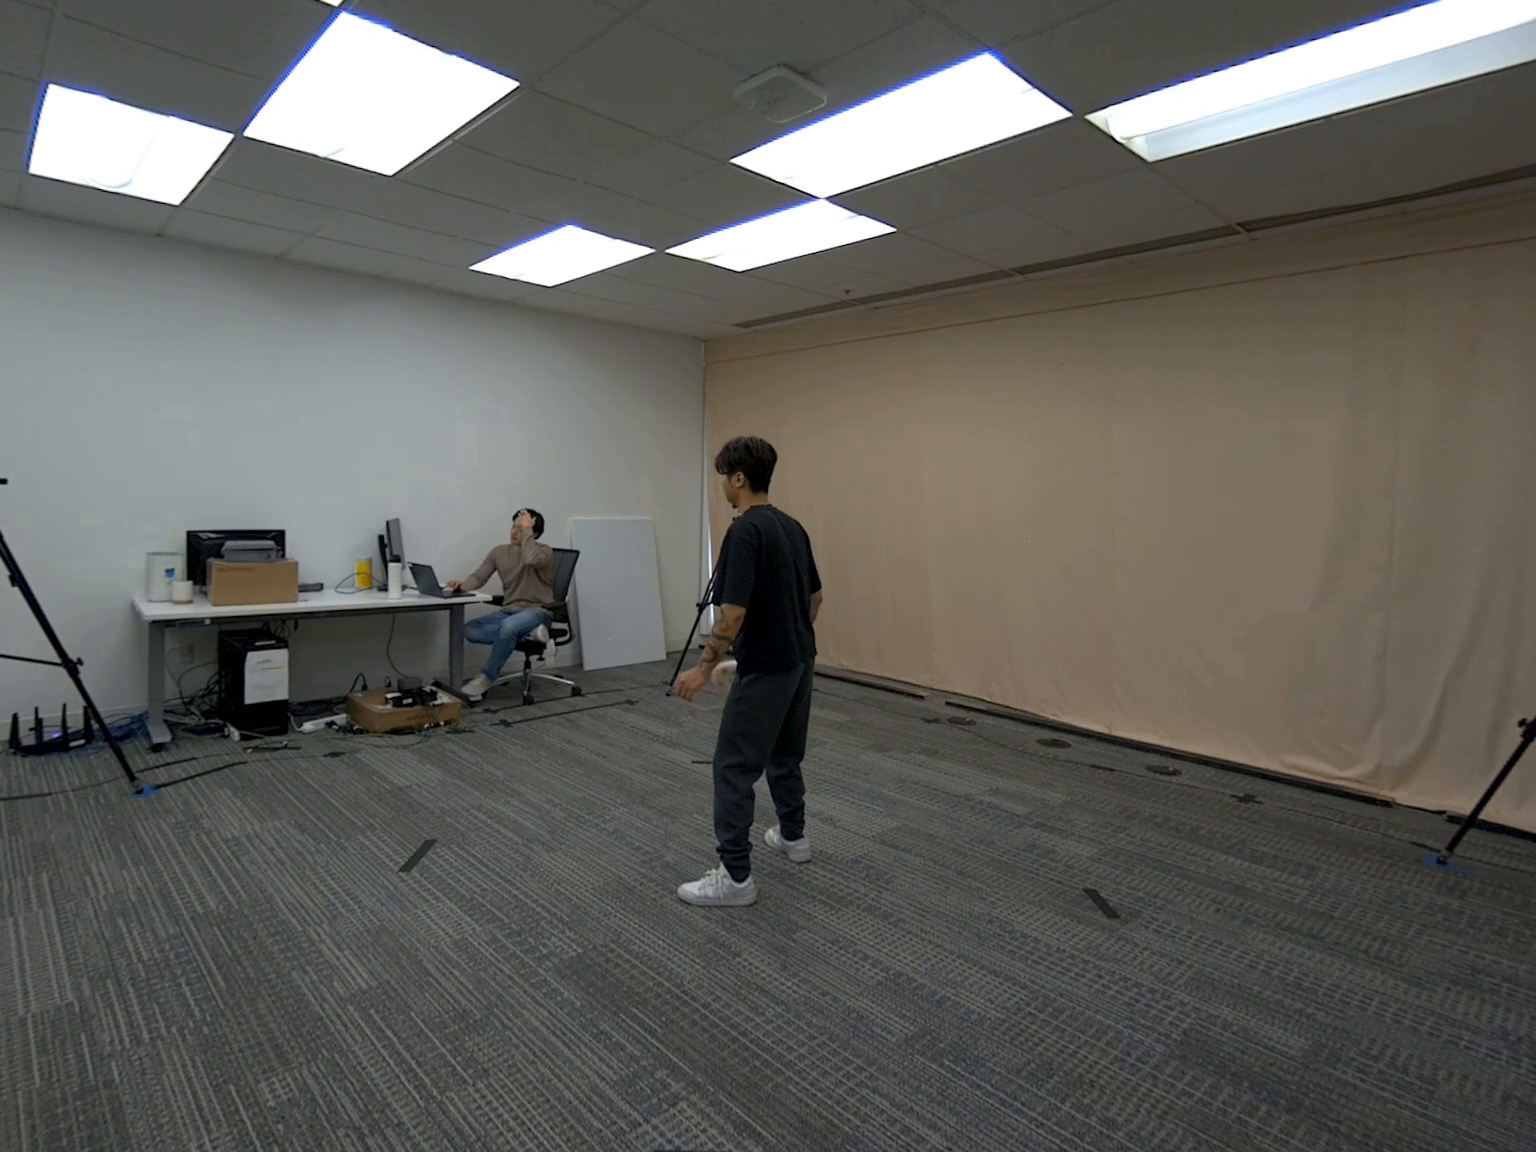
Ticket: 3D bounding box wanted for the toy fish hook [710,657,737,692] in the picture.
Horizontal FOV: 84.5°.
[{"bbox_3d":[-0.018,0.379,3.387,0.514,0.220,0.048,-16,27,36],"label":"toy fish hook"}]
